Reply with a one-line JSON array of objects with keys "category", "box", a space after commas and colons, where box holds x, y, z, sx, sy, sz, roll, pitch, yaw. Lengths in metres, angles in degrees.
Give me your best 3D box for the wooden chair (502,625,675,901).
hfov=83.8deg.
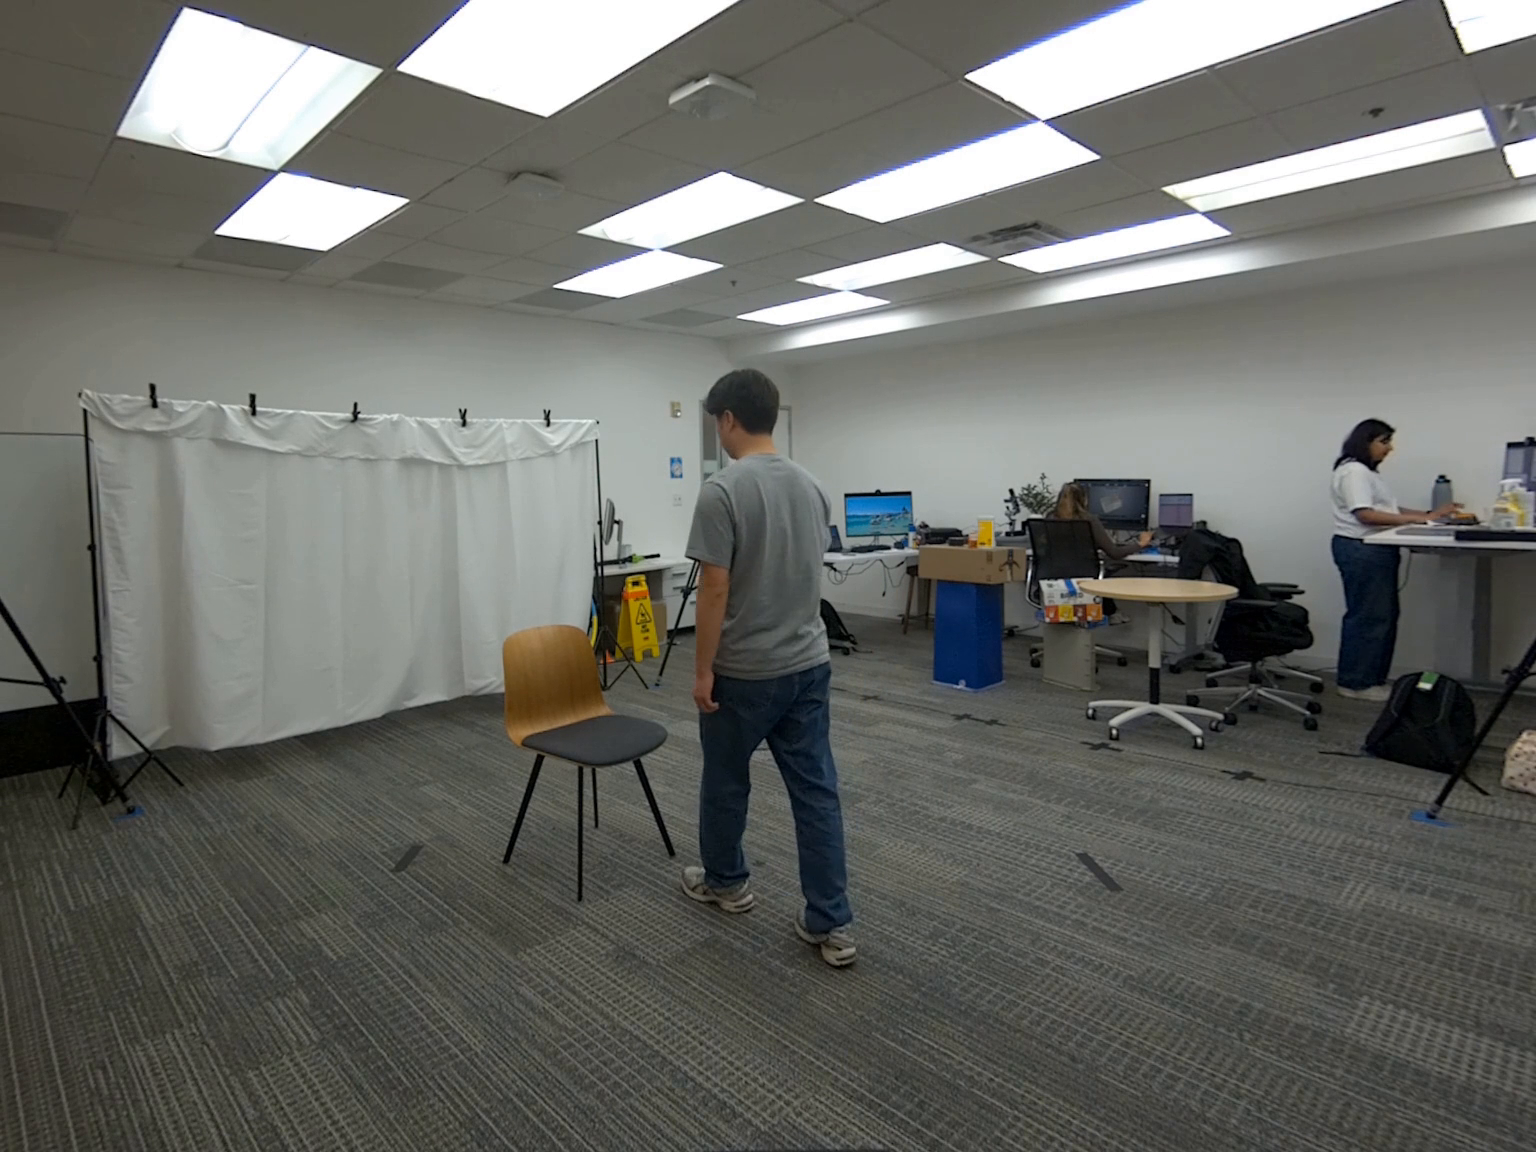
[{"category": "wooden chair", "box": [-0.664, 0.628, 3.132, 0.537, 0.877, 0.466, -4, 1, 41]}]
